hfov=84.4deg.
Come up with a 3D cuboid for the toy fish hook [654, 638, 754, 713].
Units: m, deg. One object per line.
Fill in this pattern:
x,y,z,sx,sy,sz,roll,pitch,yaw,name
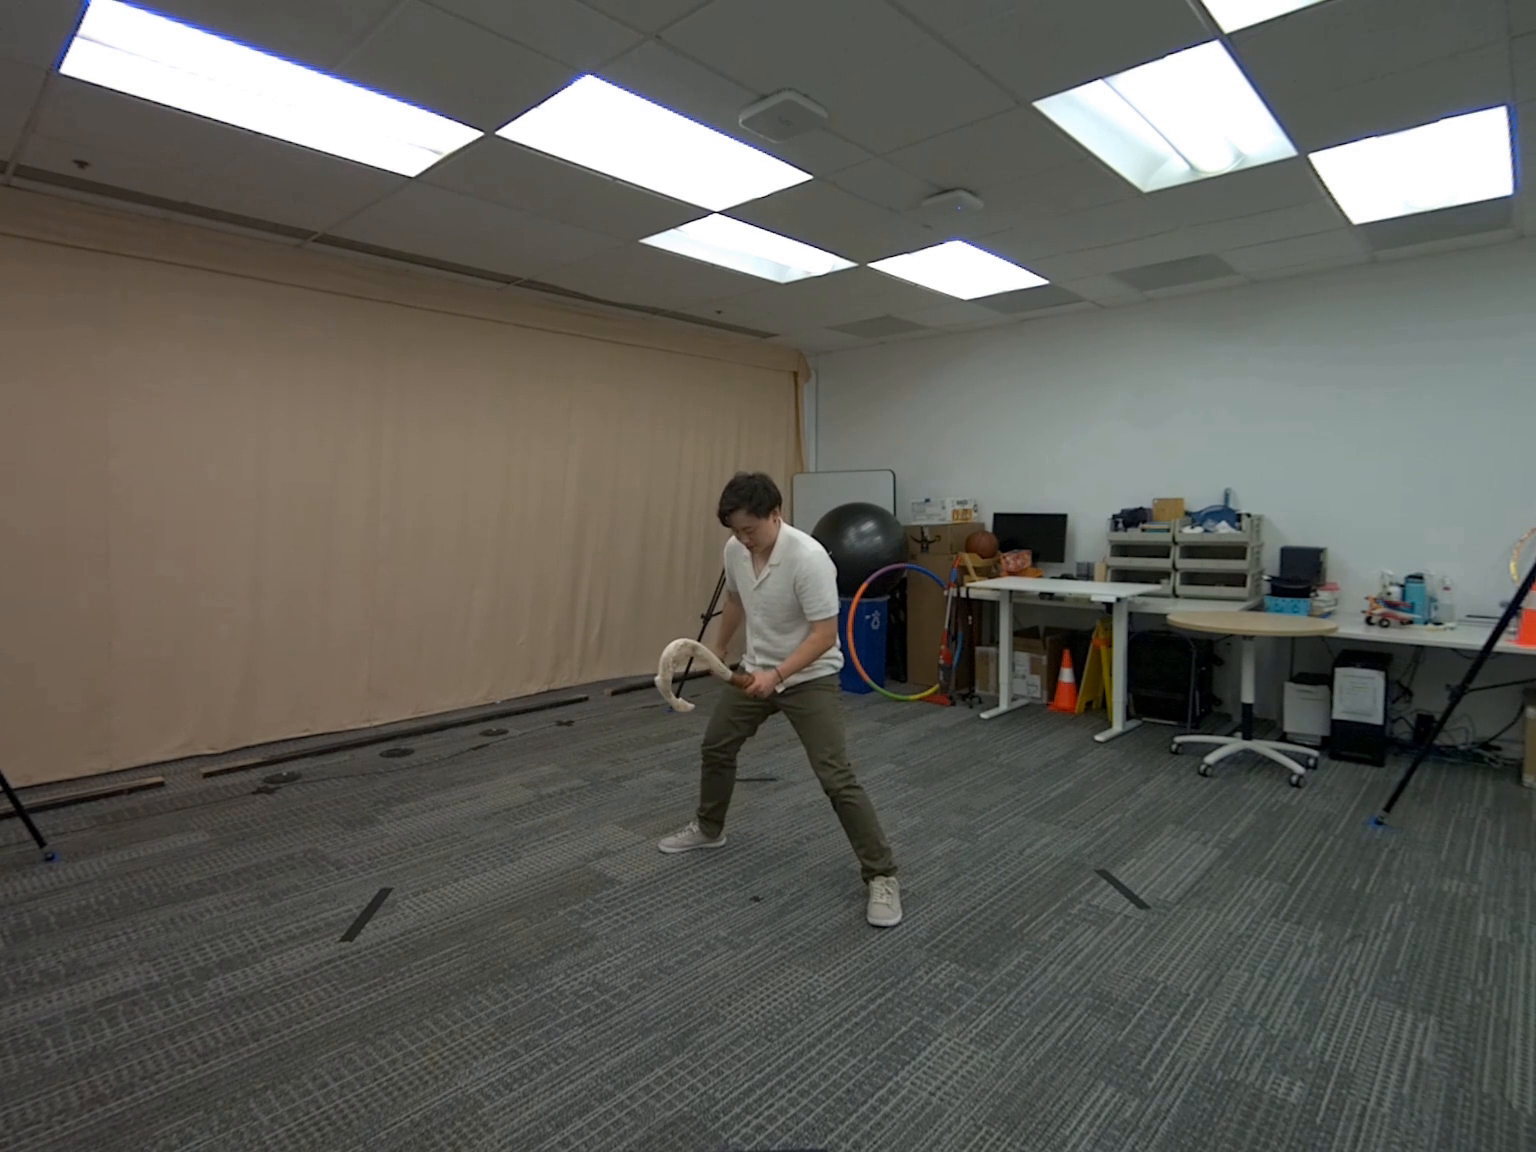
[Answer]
-0.180,0.367,2.747,0.050,0.225,0.488,10,-14,47,toy fish hook
